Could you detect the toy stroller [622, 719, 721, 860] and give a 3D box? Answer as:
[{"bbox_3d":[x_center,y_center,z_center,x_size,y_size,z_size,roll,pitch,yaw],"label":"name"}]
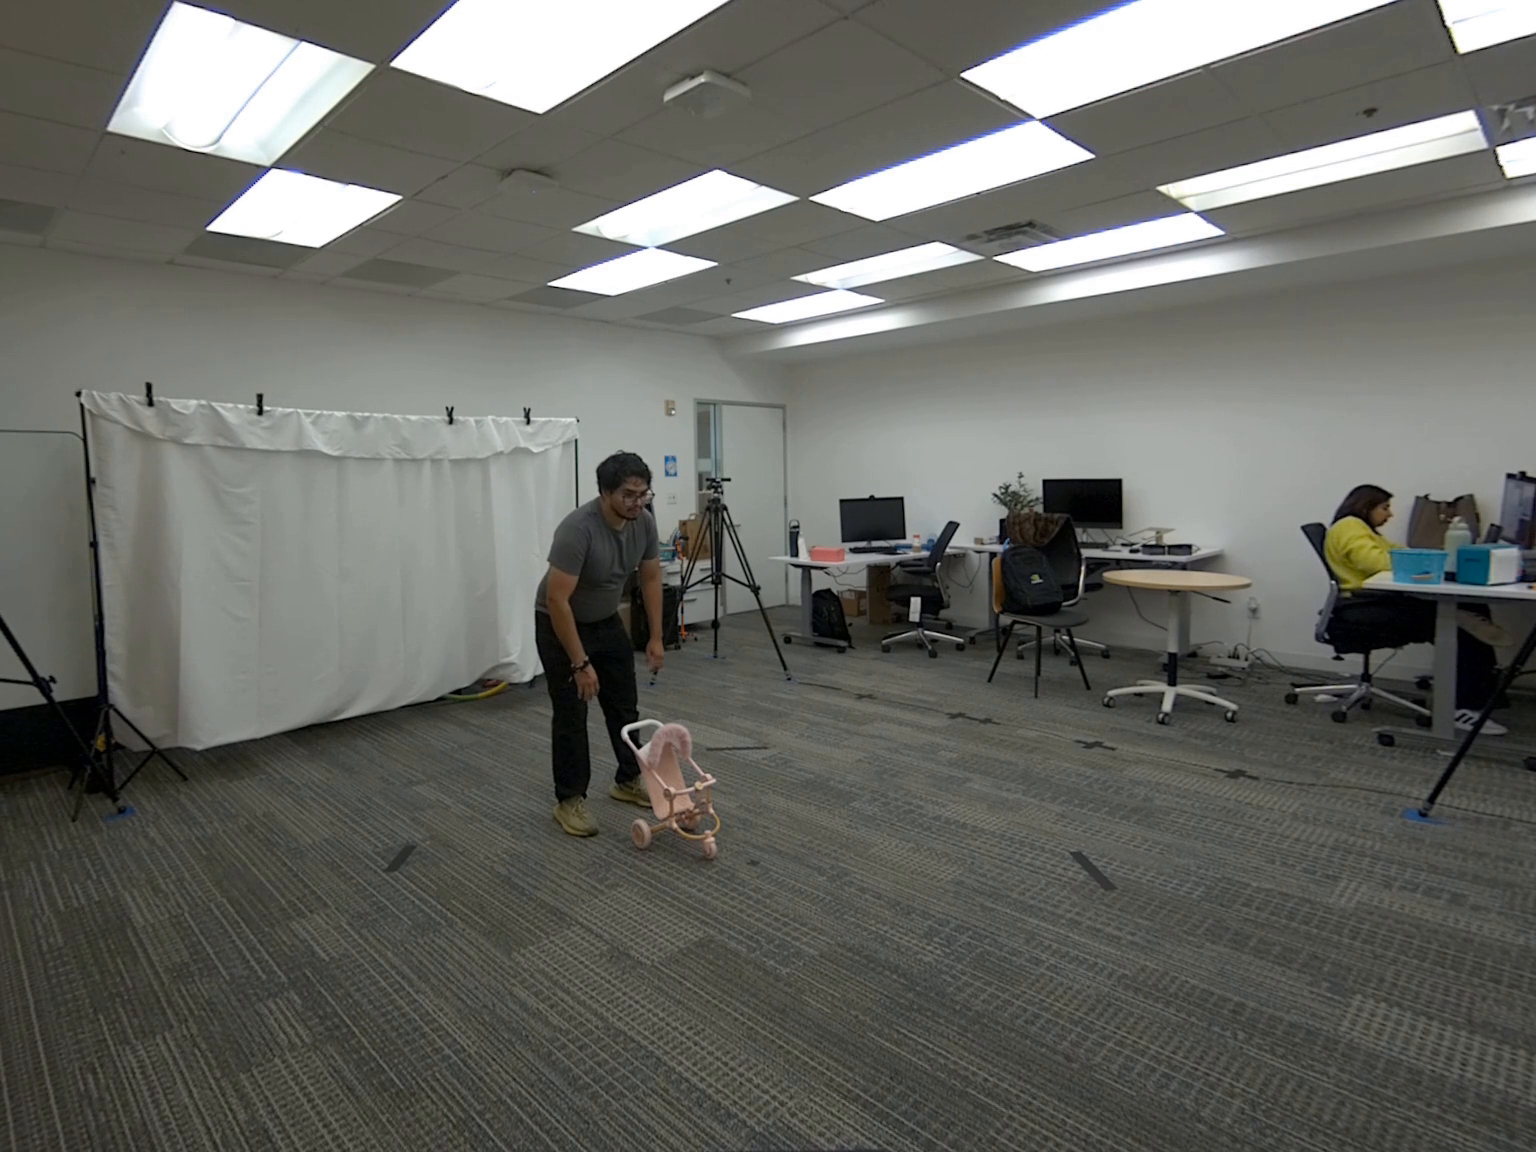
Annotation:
[{"bbox_3d":[-0.356,0.806,3.269,0.274,0.540,0.347,-5,-11,-41],"label":"toy stroller"}]
